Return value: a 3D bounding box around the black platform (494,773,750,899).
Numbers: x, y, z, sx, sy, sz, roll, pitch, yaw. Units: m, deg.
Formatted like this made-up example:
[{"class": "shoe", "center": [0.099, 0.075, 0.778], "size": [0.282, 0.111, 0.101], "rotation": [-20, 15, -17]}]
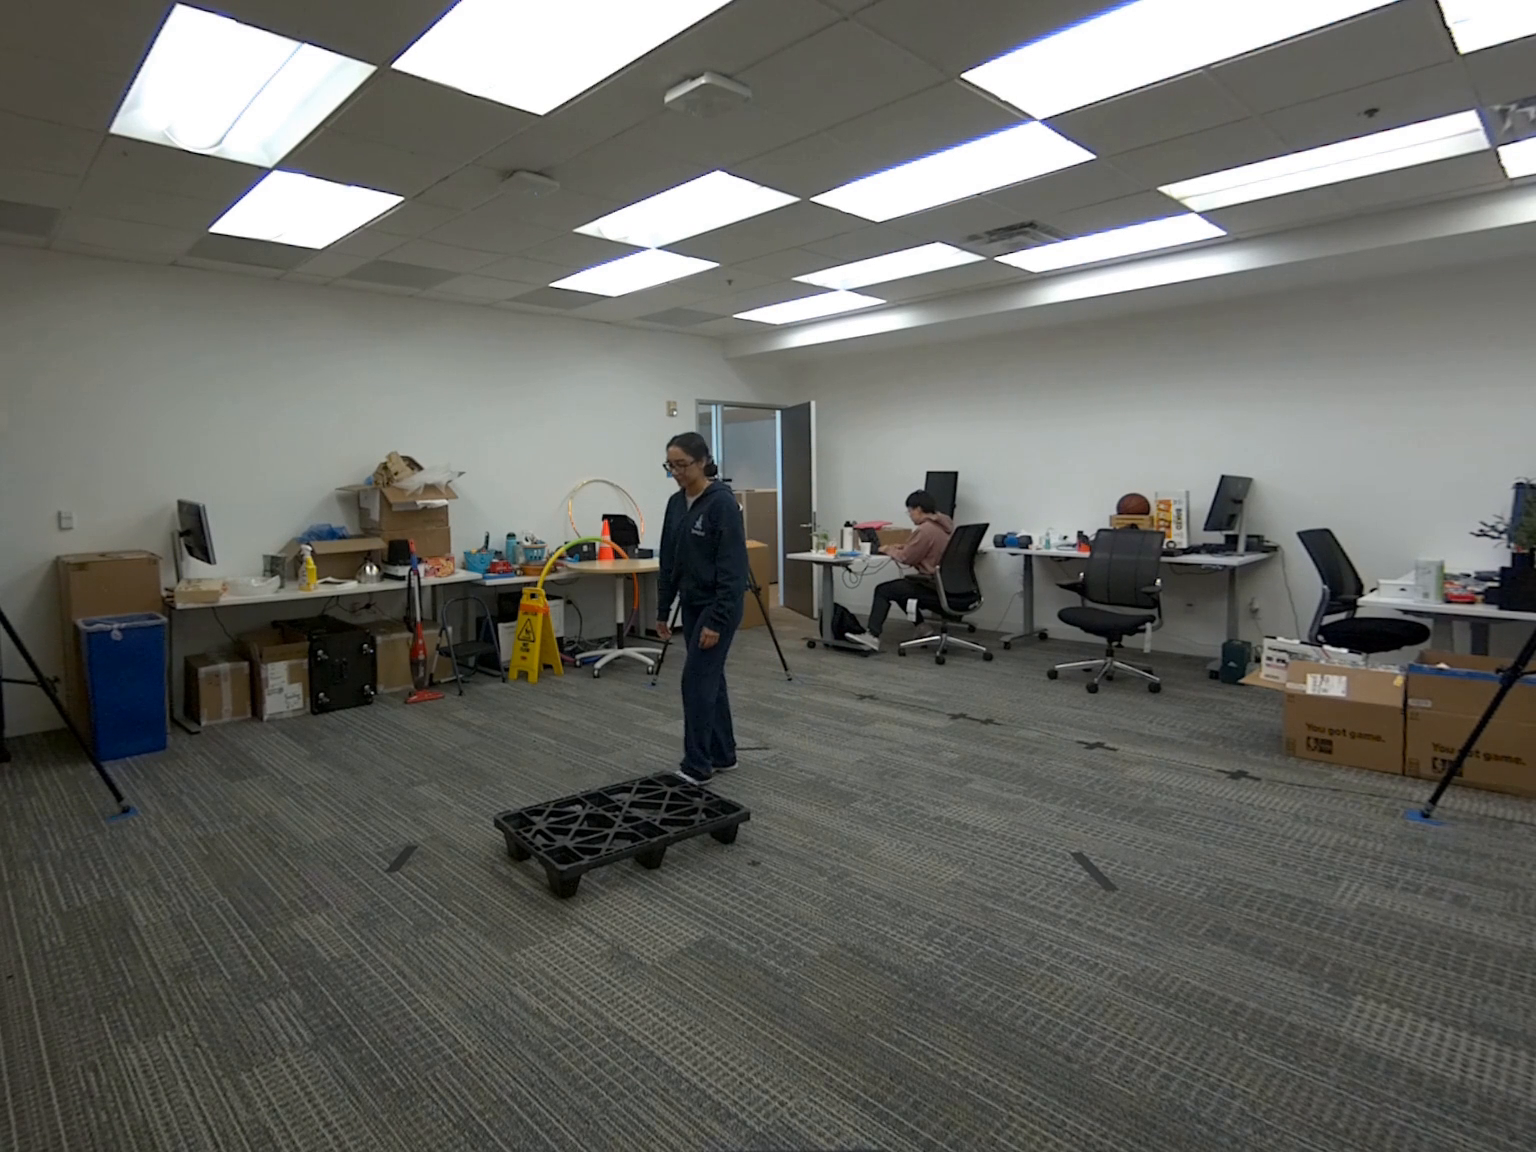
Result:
[{"class": "black platform", "center": [-0.547, 0.968, 3.260], "size": [0.785, 0.142, 0.624], "rotation": [-6, 9, -37]}]
